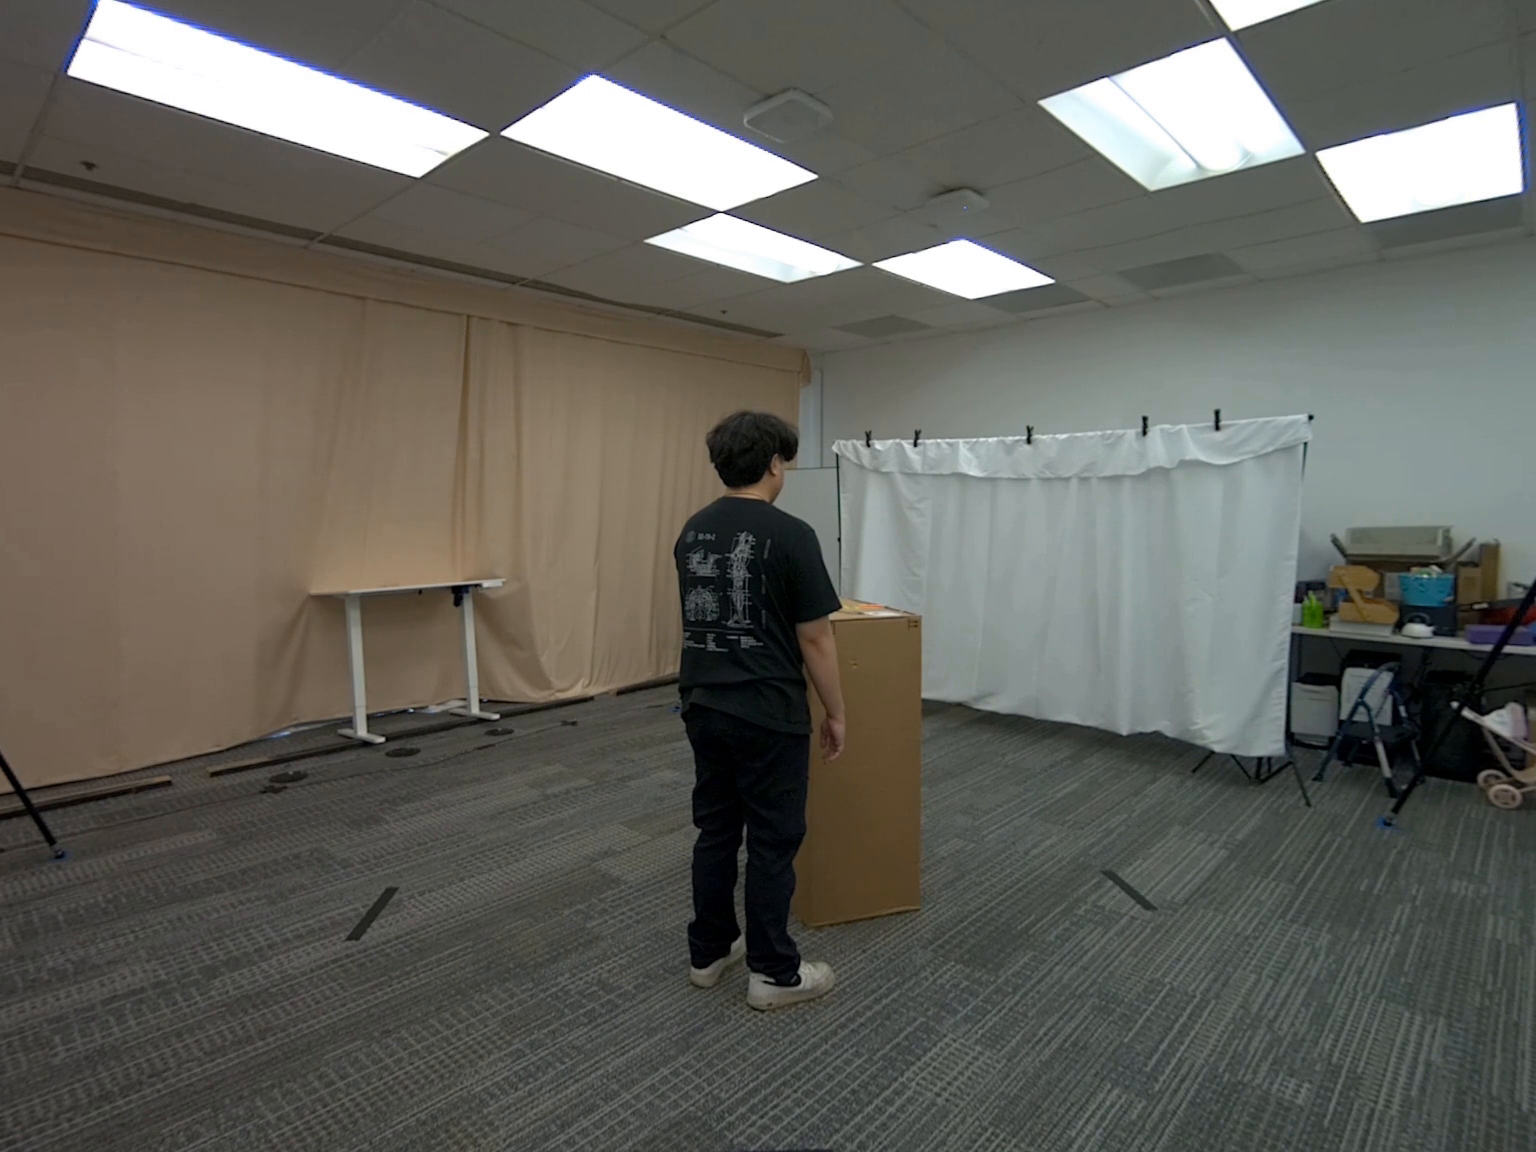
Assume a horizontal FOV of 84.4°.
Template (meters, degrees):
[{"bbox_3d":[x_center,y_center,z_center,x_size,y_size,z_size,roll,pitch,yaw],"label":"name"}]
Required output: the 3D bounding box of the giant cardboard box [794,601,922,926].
[{"bbox_3d":[0.230,0.623,3.079,0.438,1.025,0.597,-1,3,-21],"label":"giant cardboard box"}]
